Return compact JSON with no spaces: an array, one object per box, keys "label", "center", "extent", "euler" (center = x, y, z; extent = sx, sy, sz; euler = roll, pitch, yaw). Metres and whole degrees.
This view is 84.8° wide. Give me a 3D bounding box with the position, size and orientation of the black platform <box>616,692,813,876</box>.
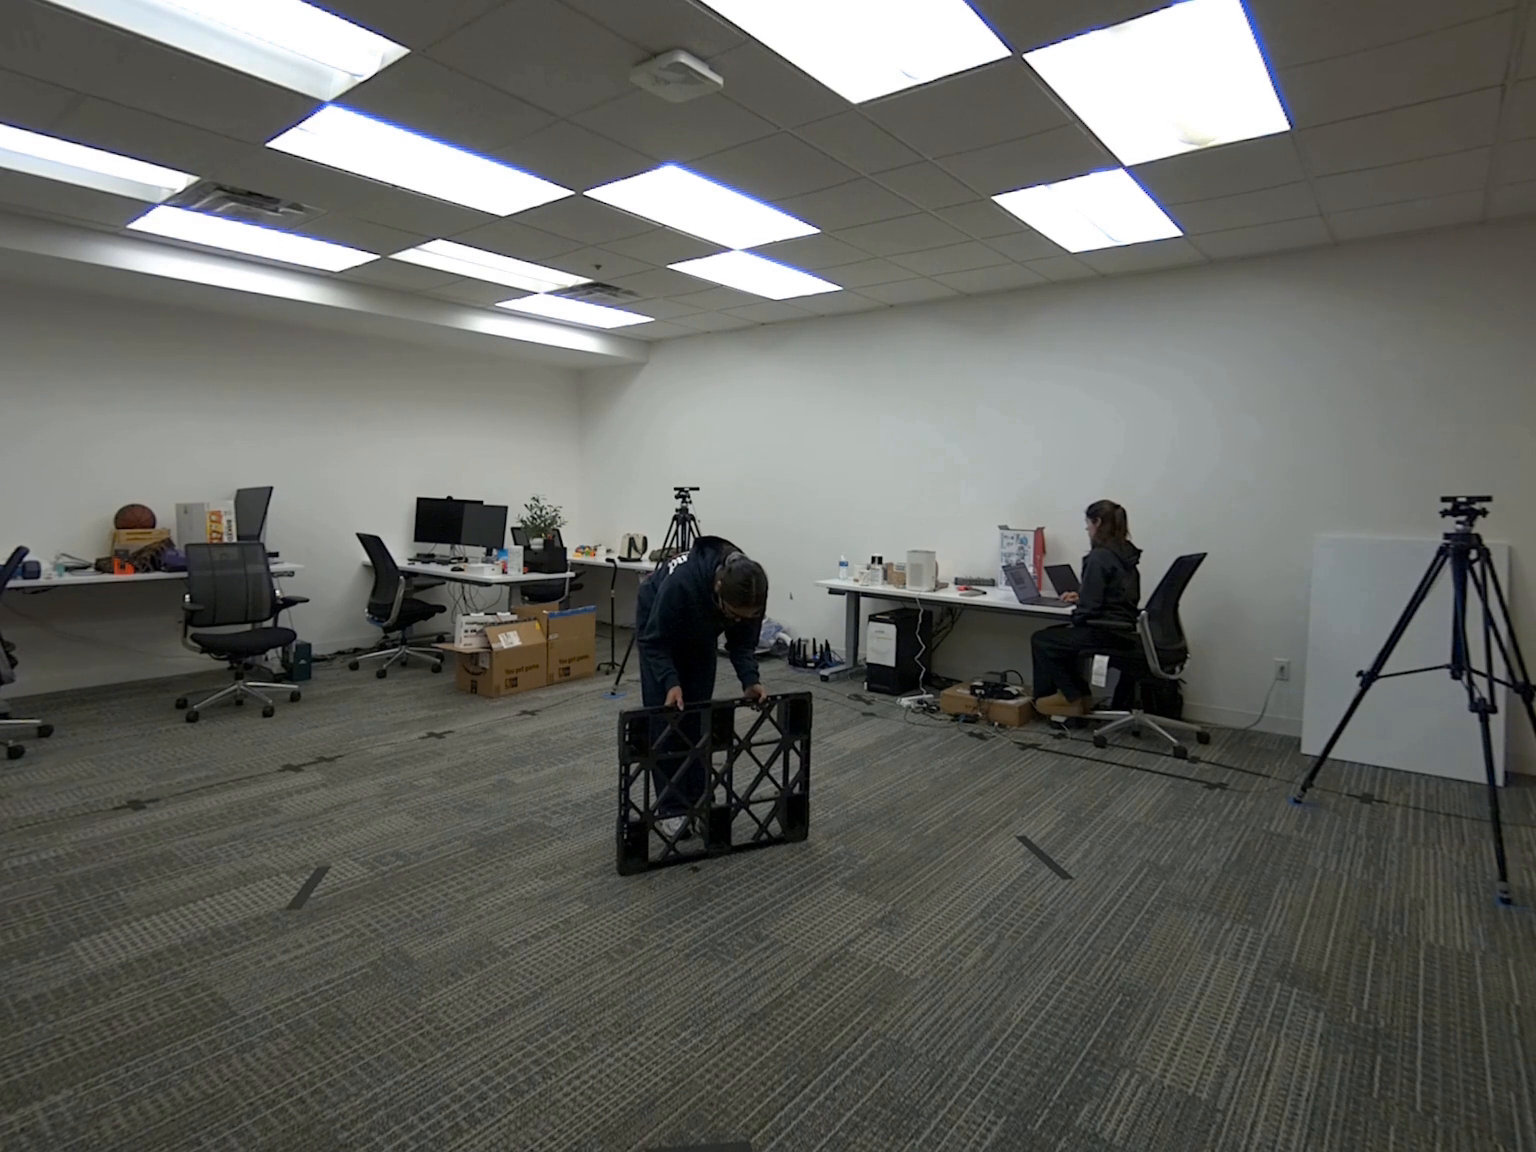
[{"label":"black platform","center":[-0.213,0.755,3.245],"extent":[0.785,0.603,0.147],"euler":[-1,4,-27]}]
